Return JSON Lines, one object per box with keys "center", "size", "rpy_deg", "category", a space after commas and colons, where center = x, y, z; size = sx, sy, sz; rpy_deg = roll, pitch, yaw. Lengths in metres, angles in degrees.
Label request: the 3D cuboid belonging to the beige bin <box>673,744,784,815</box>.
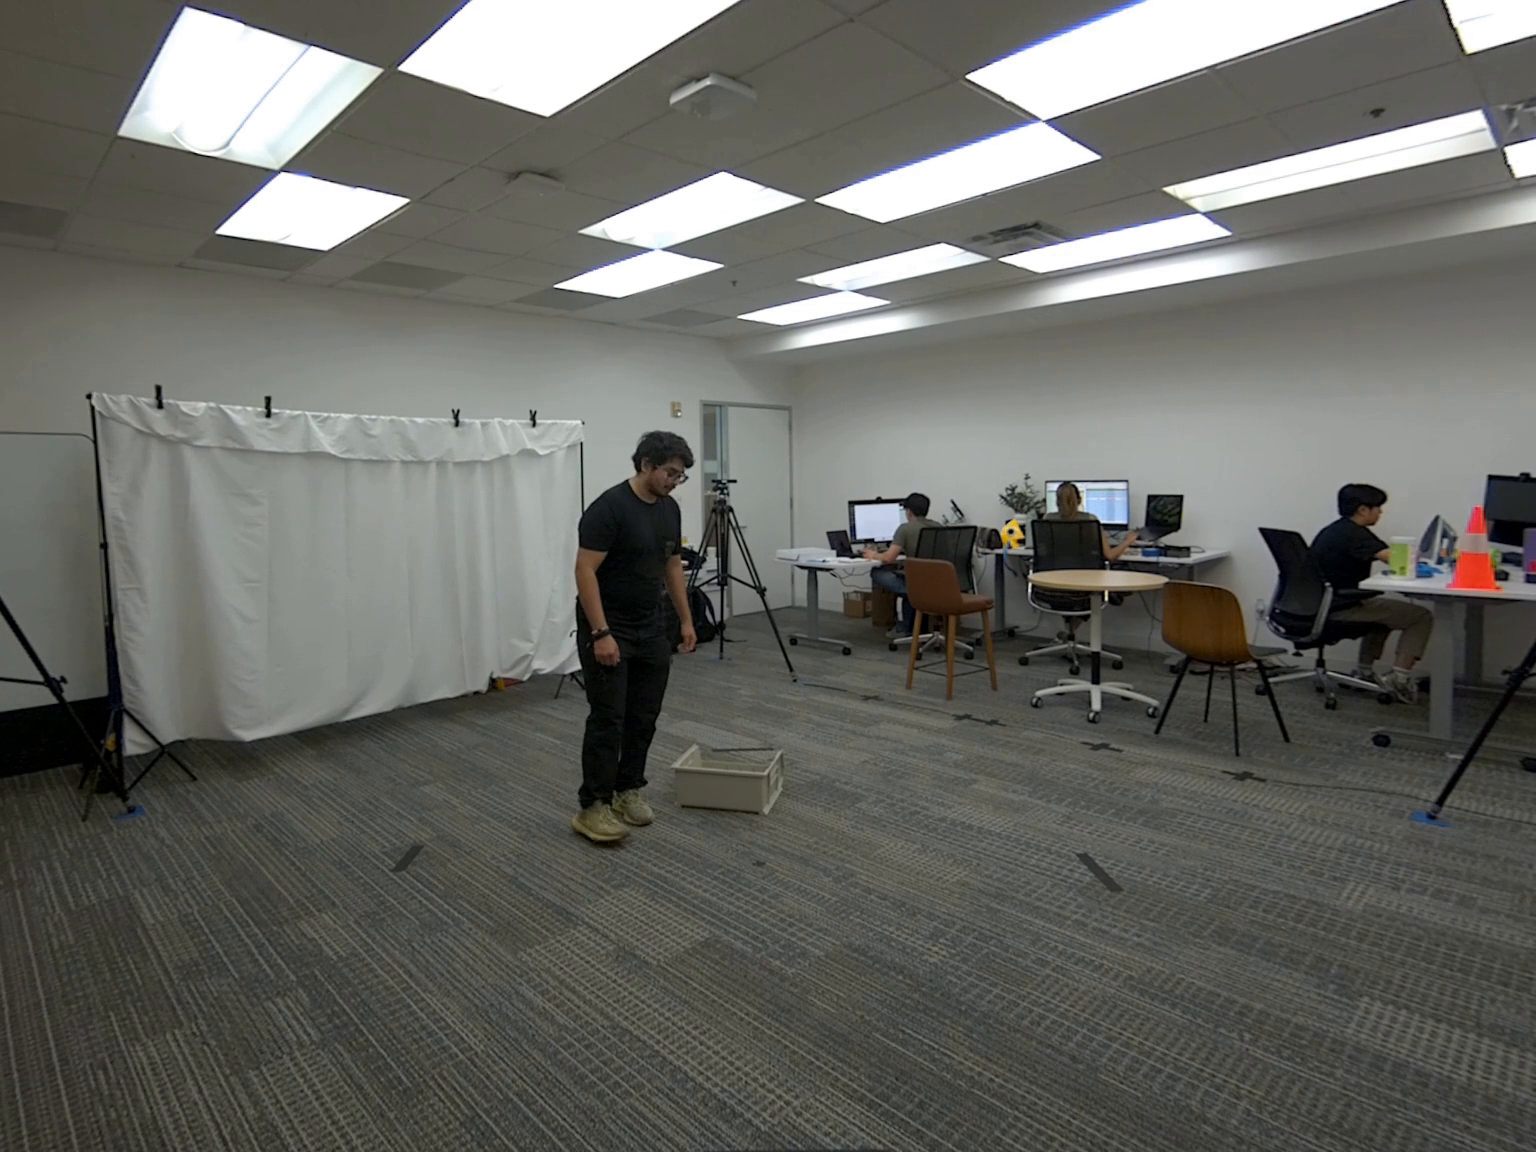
{"center": [-0.170, 0.887, 3.782], "size": [0.429, 0.188, 0.374], "rpy_deg": [0, 7, 15], "category": "beige bin"}
